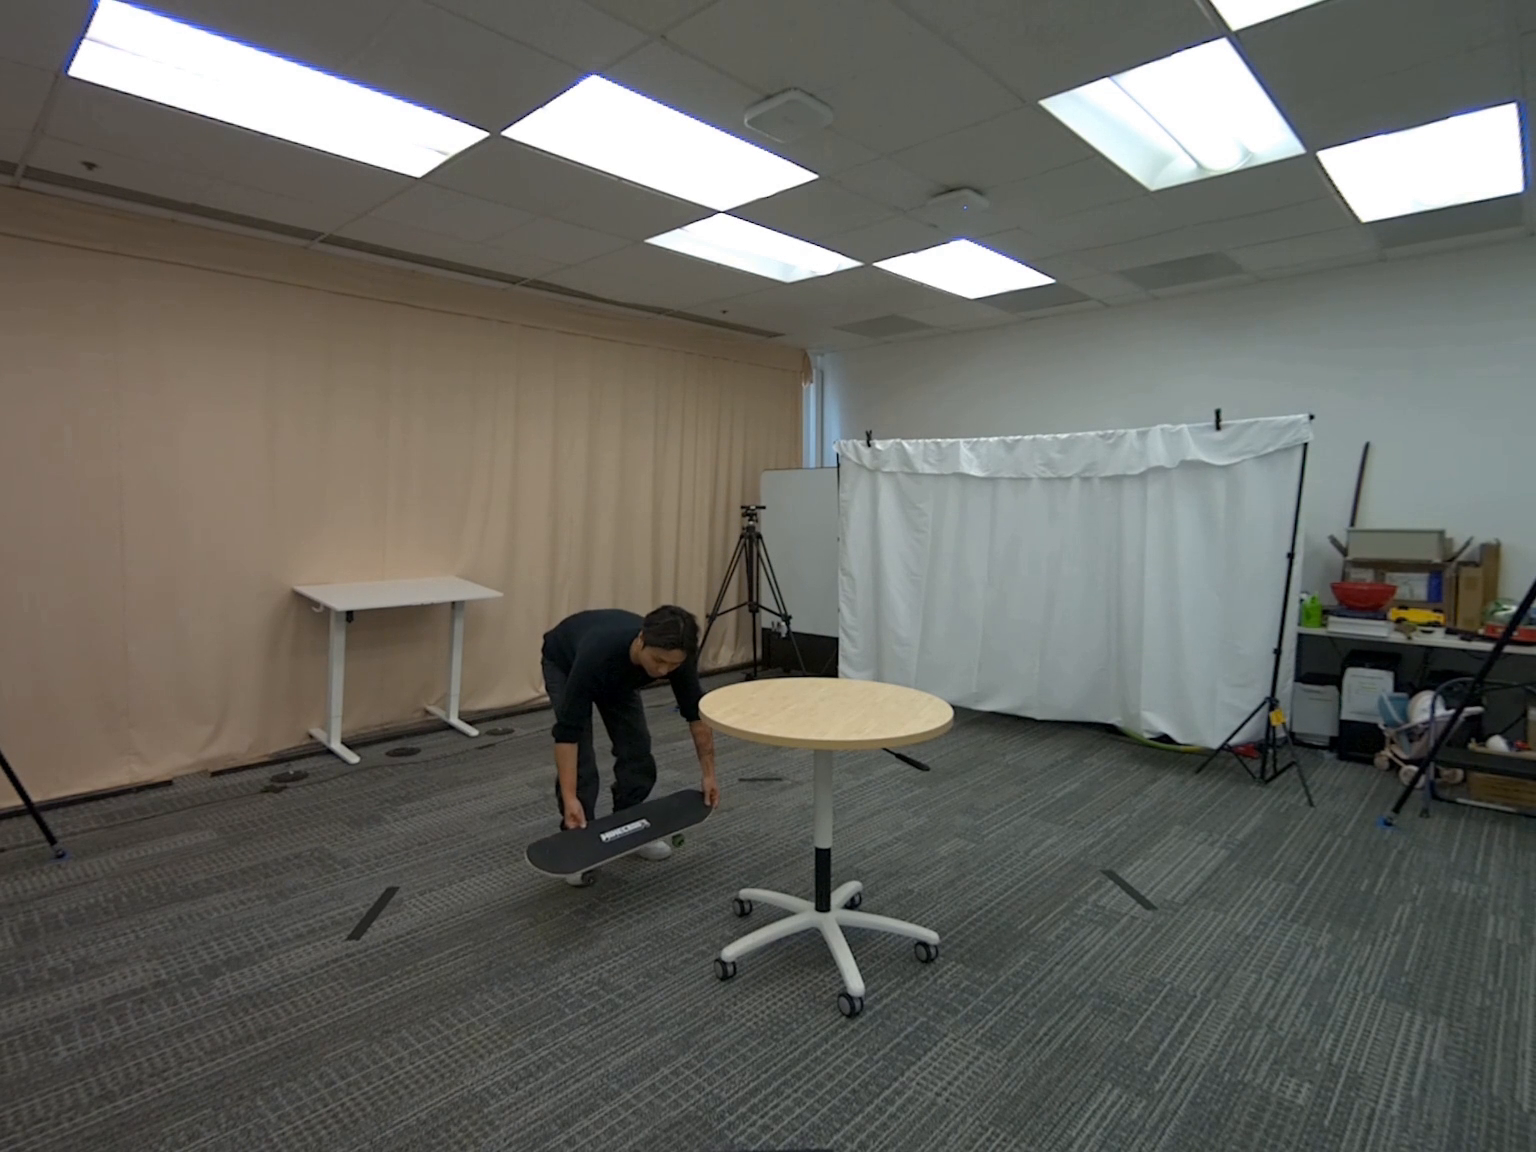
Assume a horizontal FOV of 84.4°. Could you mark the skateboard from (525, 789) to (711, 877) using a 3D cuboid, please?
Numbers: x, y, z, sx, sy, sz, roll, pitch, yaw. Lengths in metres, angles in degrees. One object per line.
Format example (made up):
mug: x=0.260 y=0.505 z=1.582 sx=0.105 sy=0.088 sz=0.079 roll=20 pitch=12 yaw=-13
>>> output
skateboard: x=-0.512 y=0.941 z=2.986 sx=0.762 sy=0.109 sz=0.201 roll=-8 pitch=27 yaw=-45
